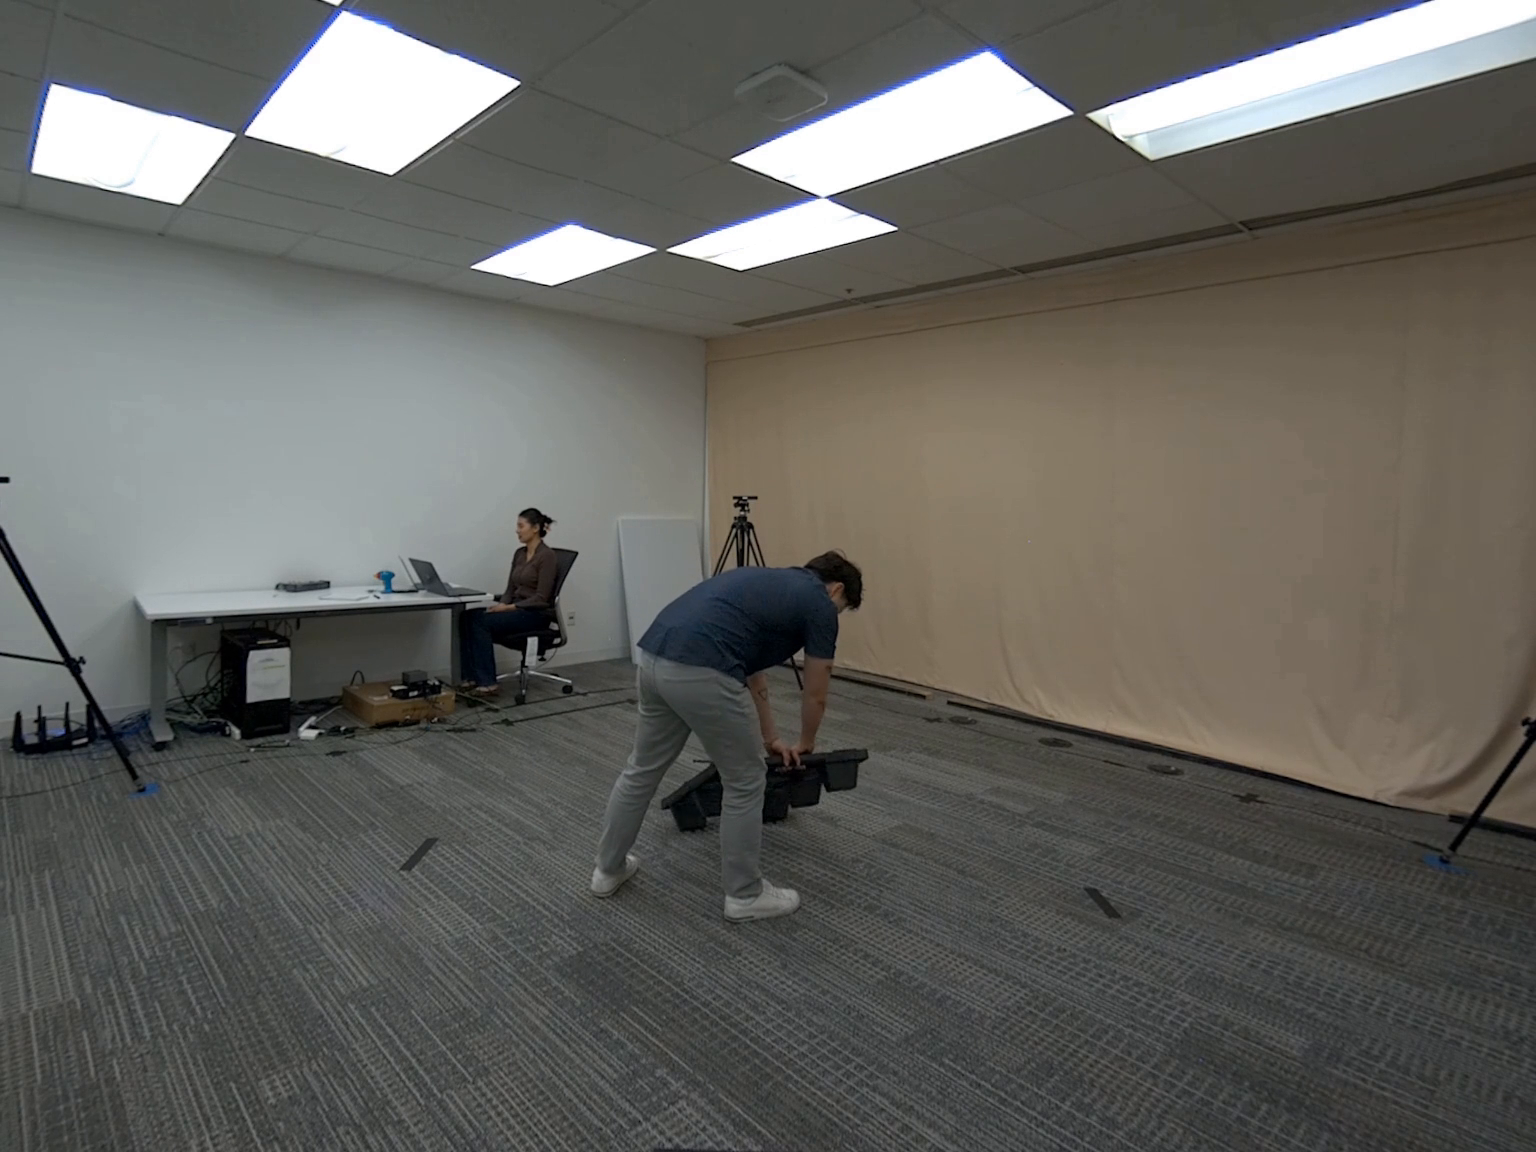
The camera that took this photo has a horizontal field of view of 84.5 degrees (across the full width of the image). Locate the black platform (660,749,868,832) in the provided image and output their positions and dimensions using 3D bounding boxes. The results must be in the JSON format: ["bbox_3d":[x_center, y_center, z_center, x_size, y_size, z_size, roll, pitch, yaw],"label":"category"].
[{"bbox_3d":[-0.037,0.852,3.297,0.596,0.146,0.803,0,-24,-22],"label":"black platform"}]
